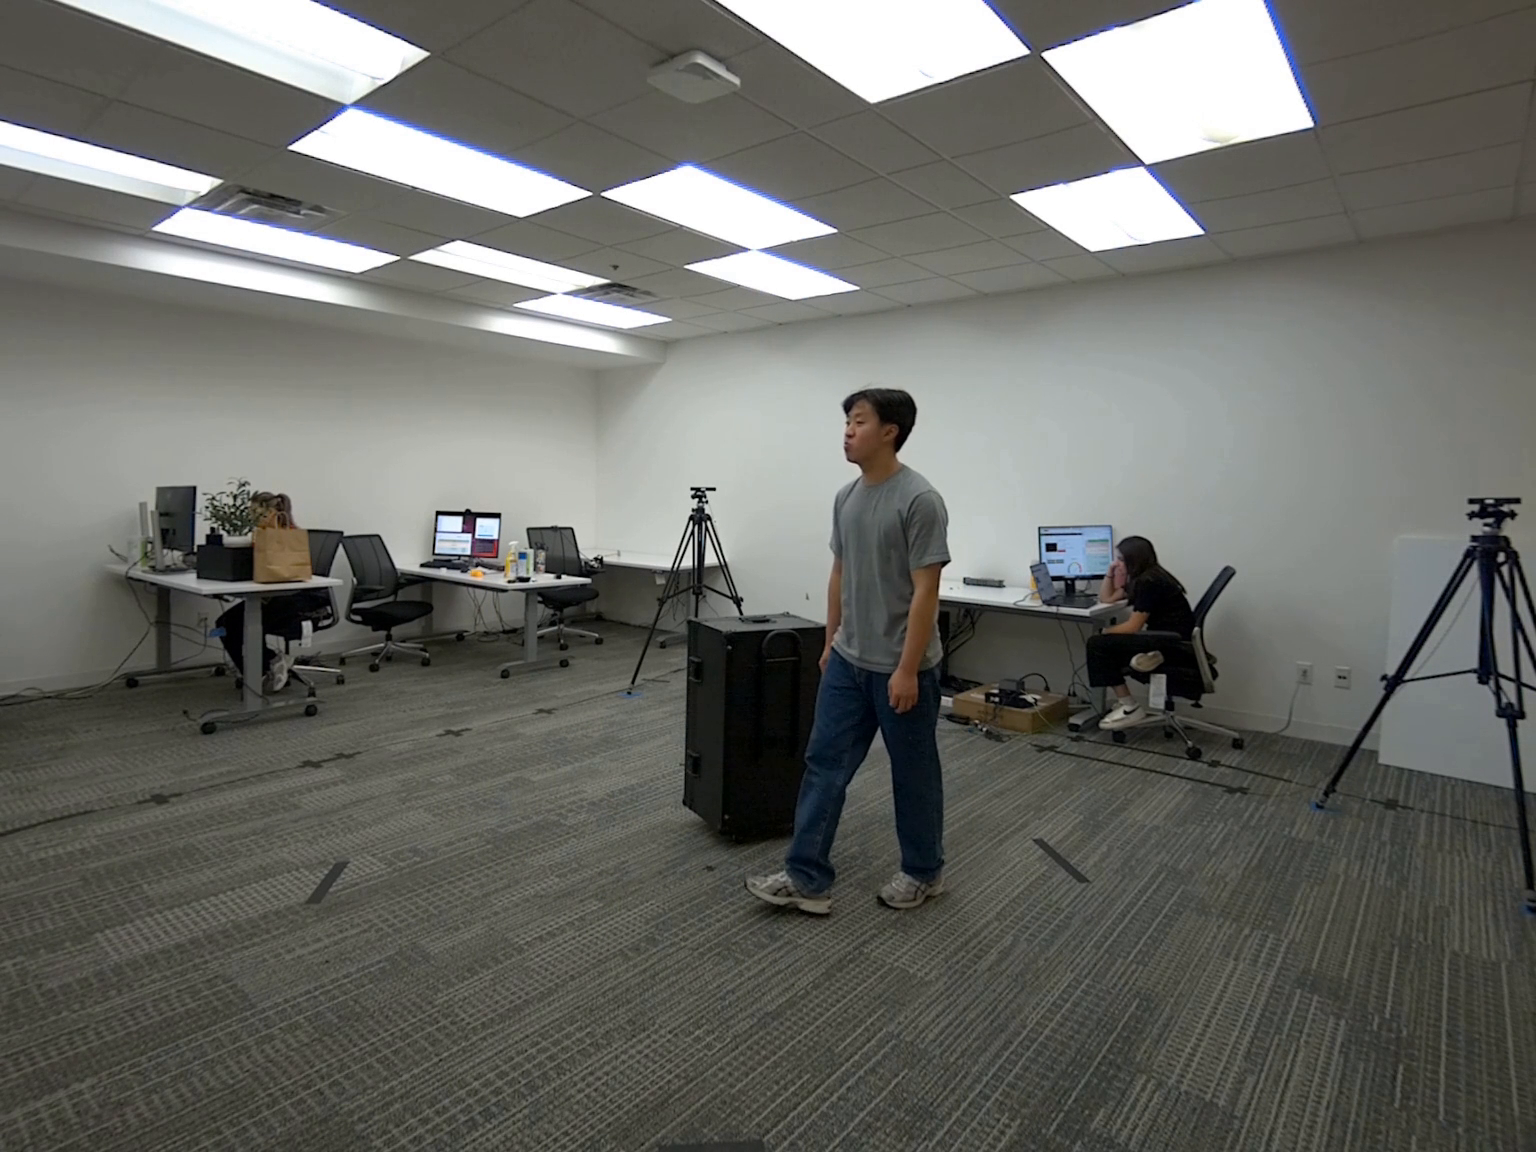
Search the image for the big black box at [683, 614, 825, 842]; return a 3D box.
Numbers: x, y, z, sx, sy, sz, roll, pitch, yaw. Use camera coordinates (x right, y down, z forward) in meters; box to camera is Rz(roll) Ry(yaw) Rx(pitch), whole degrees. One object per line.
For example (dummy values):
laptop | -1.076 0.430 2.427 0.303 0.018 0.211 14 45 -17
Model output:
big black box | -0.049 0.607 3.469 0.508 0.858 0.408 0 5 -28
